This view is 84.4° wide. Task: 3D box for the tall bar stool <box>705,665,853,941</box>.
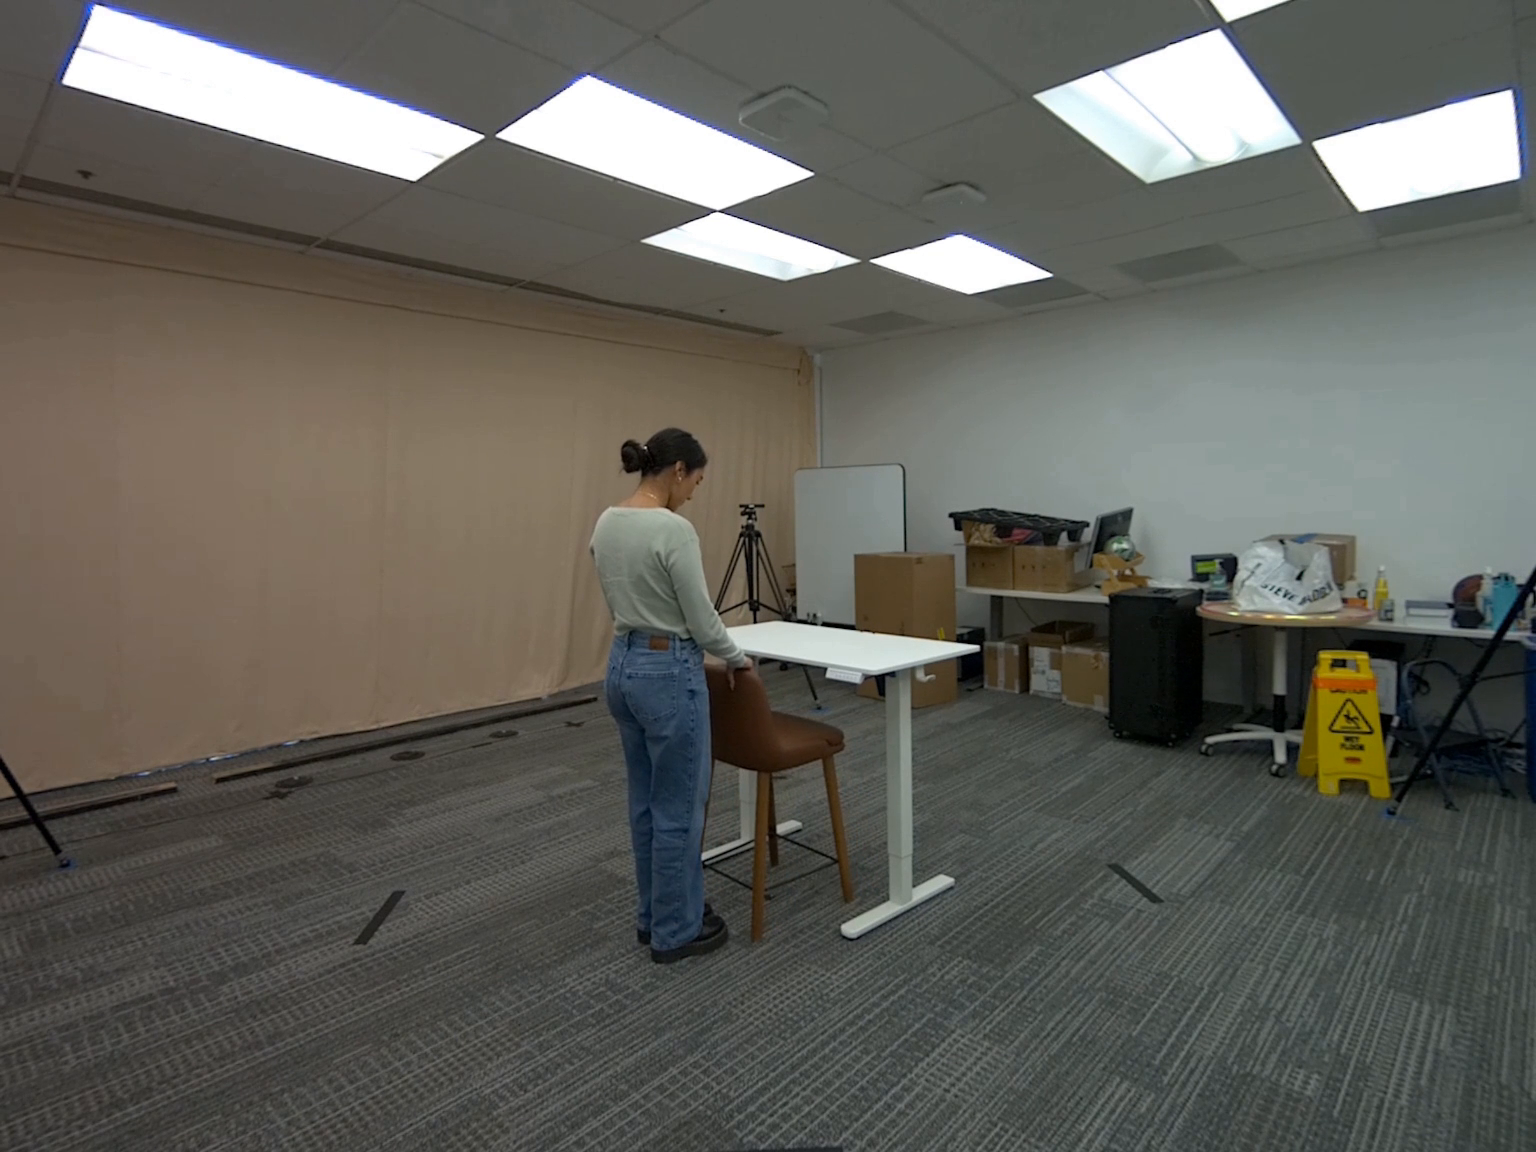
[{"bbox_3d":[-0.018,0.704,2.926,0.454,0.886,0.472,-7,8,-40],"label":"tall bar stool"}]
